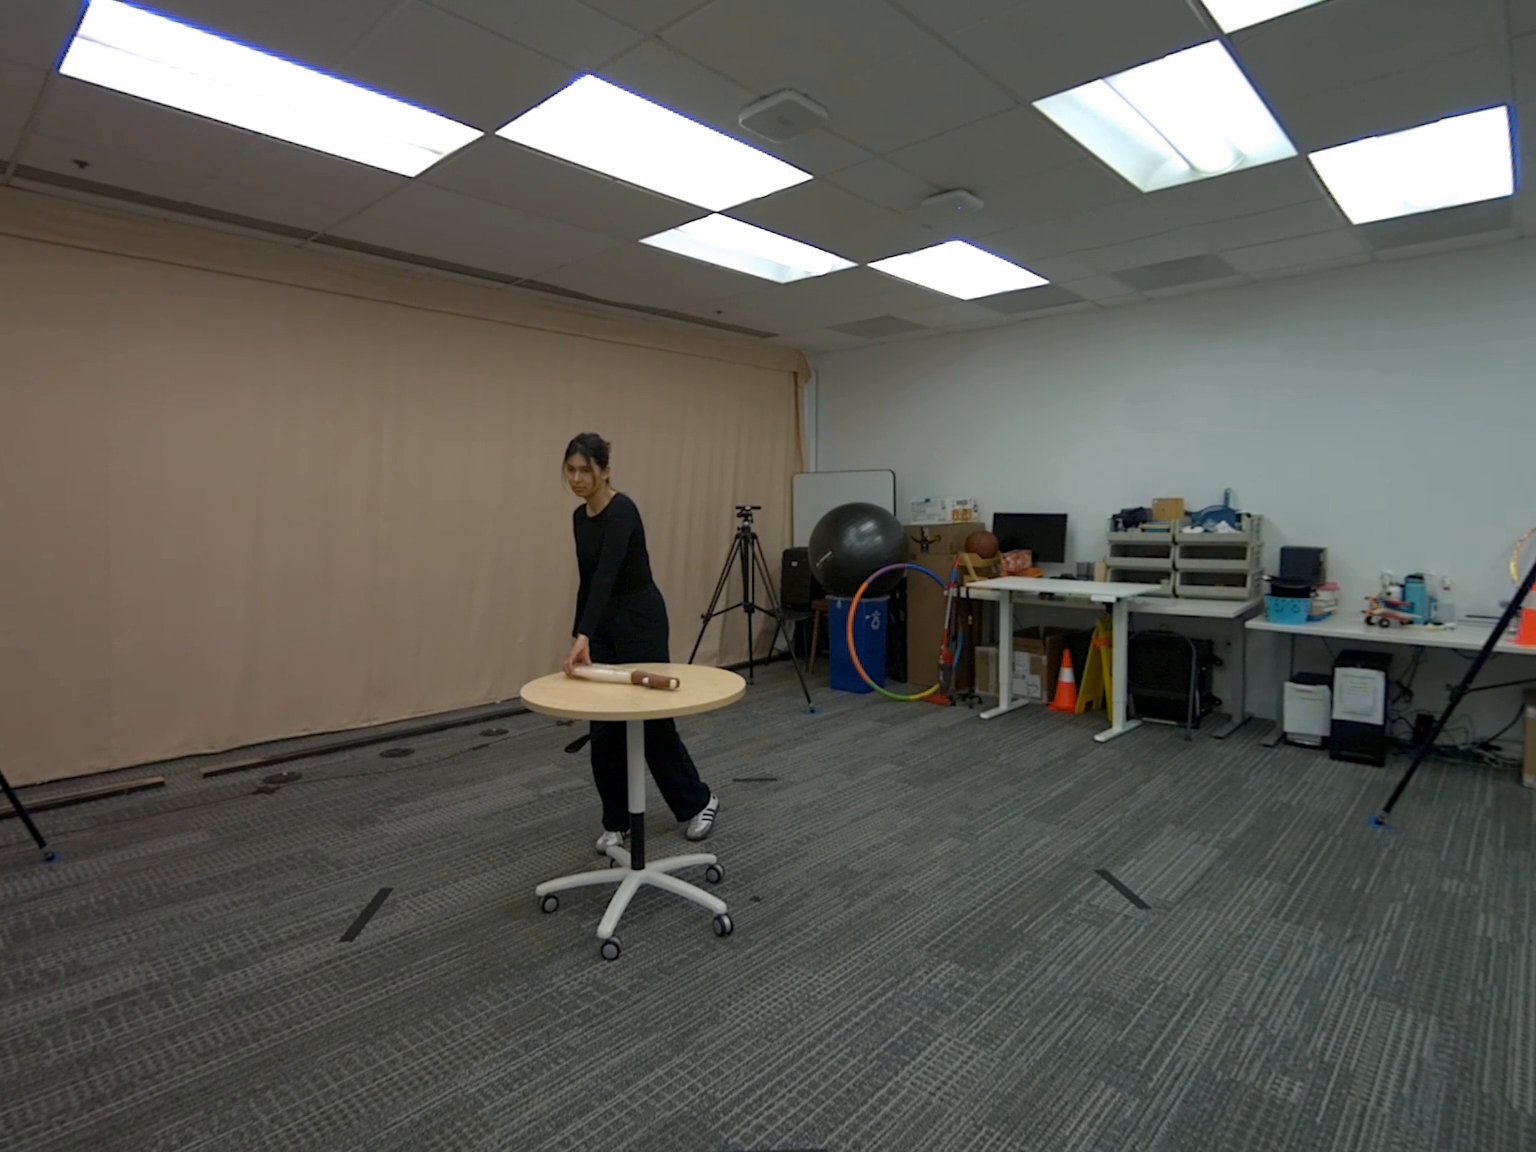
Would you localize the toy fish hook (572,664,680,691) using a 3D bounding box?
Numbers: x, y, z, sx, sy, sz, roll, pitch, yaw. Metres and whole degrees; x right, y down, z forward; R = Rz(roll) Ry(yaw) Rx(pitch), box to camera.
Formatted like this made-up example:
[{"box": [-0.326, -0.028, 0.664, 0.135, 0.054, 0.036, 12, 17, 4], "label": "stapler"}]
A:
[{"box": [-0.477, 0.346, 2.960, 0.523, 0.048, 0.218, 3, 6, 36], "label": "toy fish hook"}]
